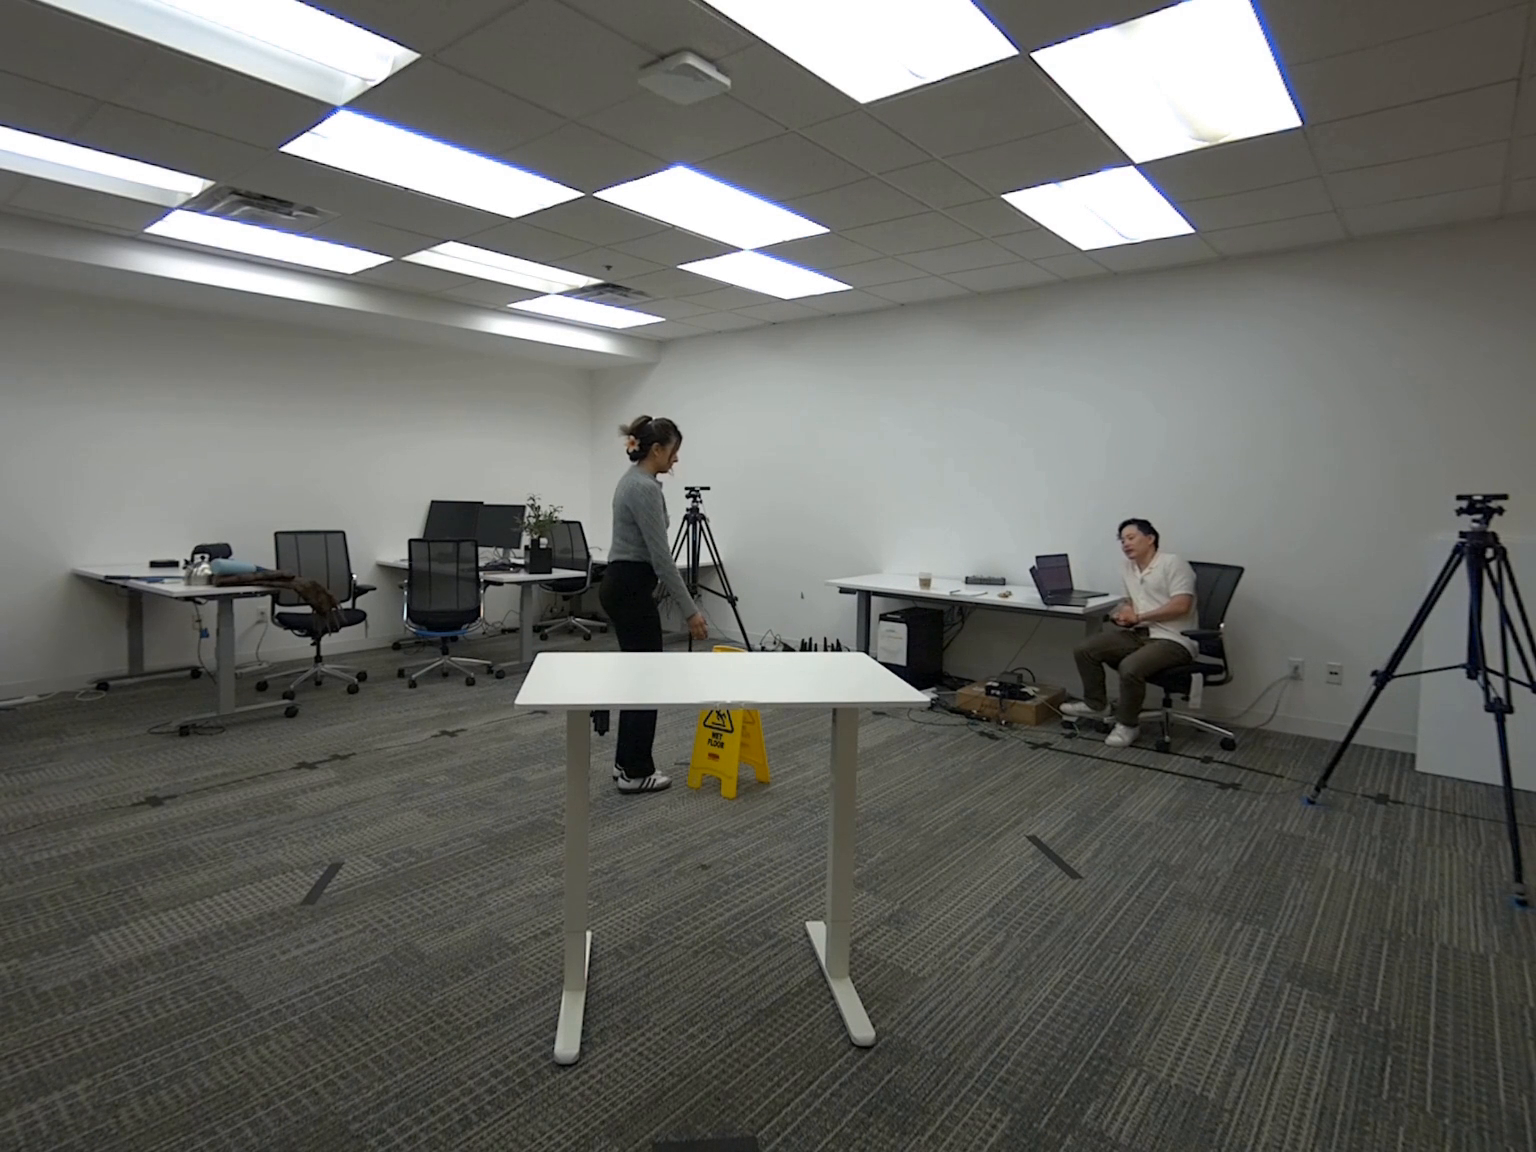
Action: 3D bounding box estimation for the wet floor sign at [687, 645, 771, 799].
[{"bbox_3d":[-0.190,0.658,3.994,0.291,0.644,0.281,4,3,36],"label":"wet floor sign"}]
